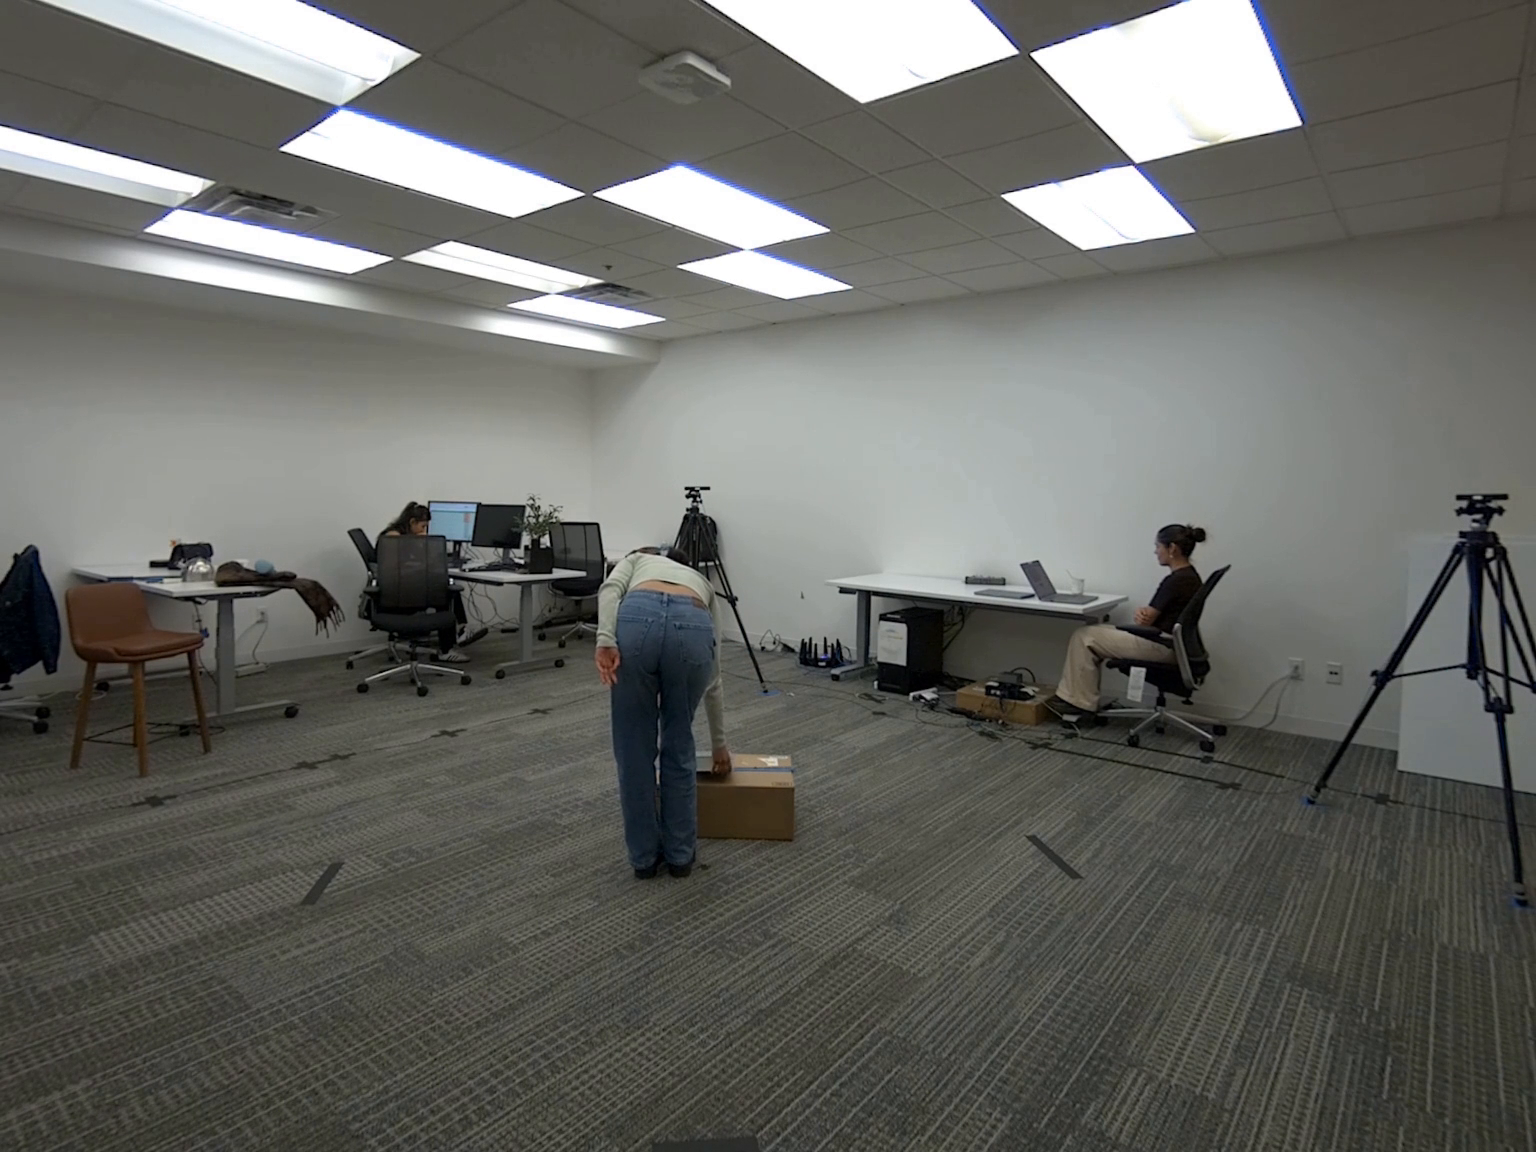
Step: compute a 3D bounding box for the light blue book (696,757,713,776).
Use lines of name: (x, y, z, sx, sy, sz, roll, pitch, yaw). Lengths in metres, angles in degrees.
light blue book: (-0.243, 0.750, 3.500, 0.190, 0.059, 0.260, 0, -8, -6)
